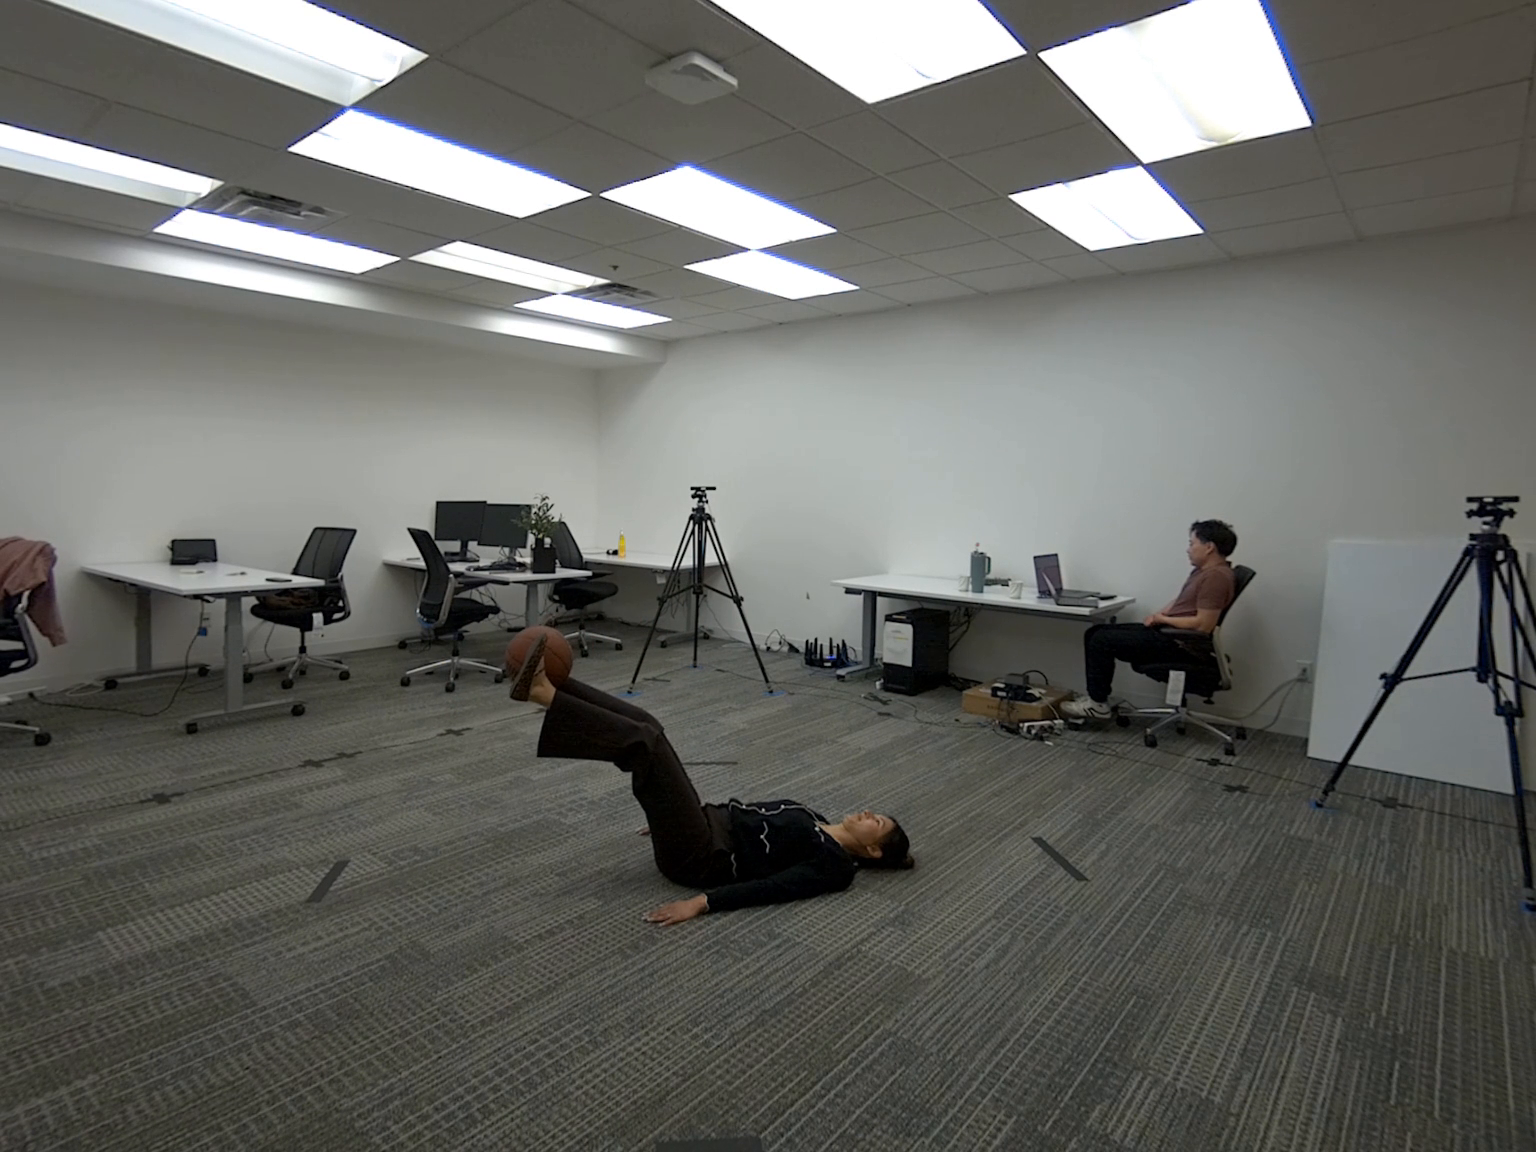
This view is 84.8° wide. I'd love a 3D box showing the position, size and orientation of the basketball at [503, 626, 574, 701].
[{"bbox_3d":[-0.814,0.288,2.988,0.236,0.234,0.238,0,7,-2],"label":"basketball"}]
